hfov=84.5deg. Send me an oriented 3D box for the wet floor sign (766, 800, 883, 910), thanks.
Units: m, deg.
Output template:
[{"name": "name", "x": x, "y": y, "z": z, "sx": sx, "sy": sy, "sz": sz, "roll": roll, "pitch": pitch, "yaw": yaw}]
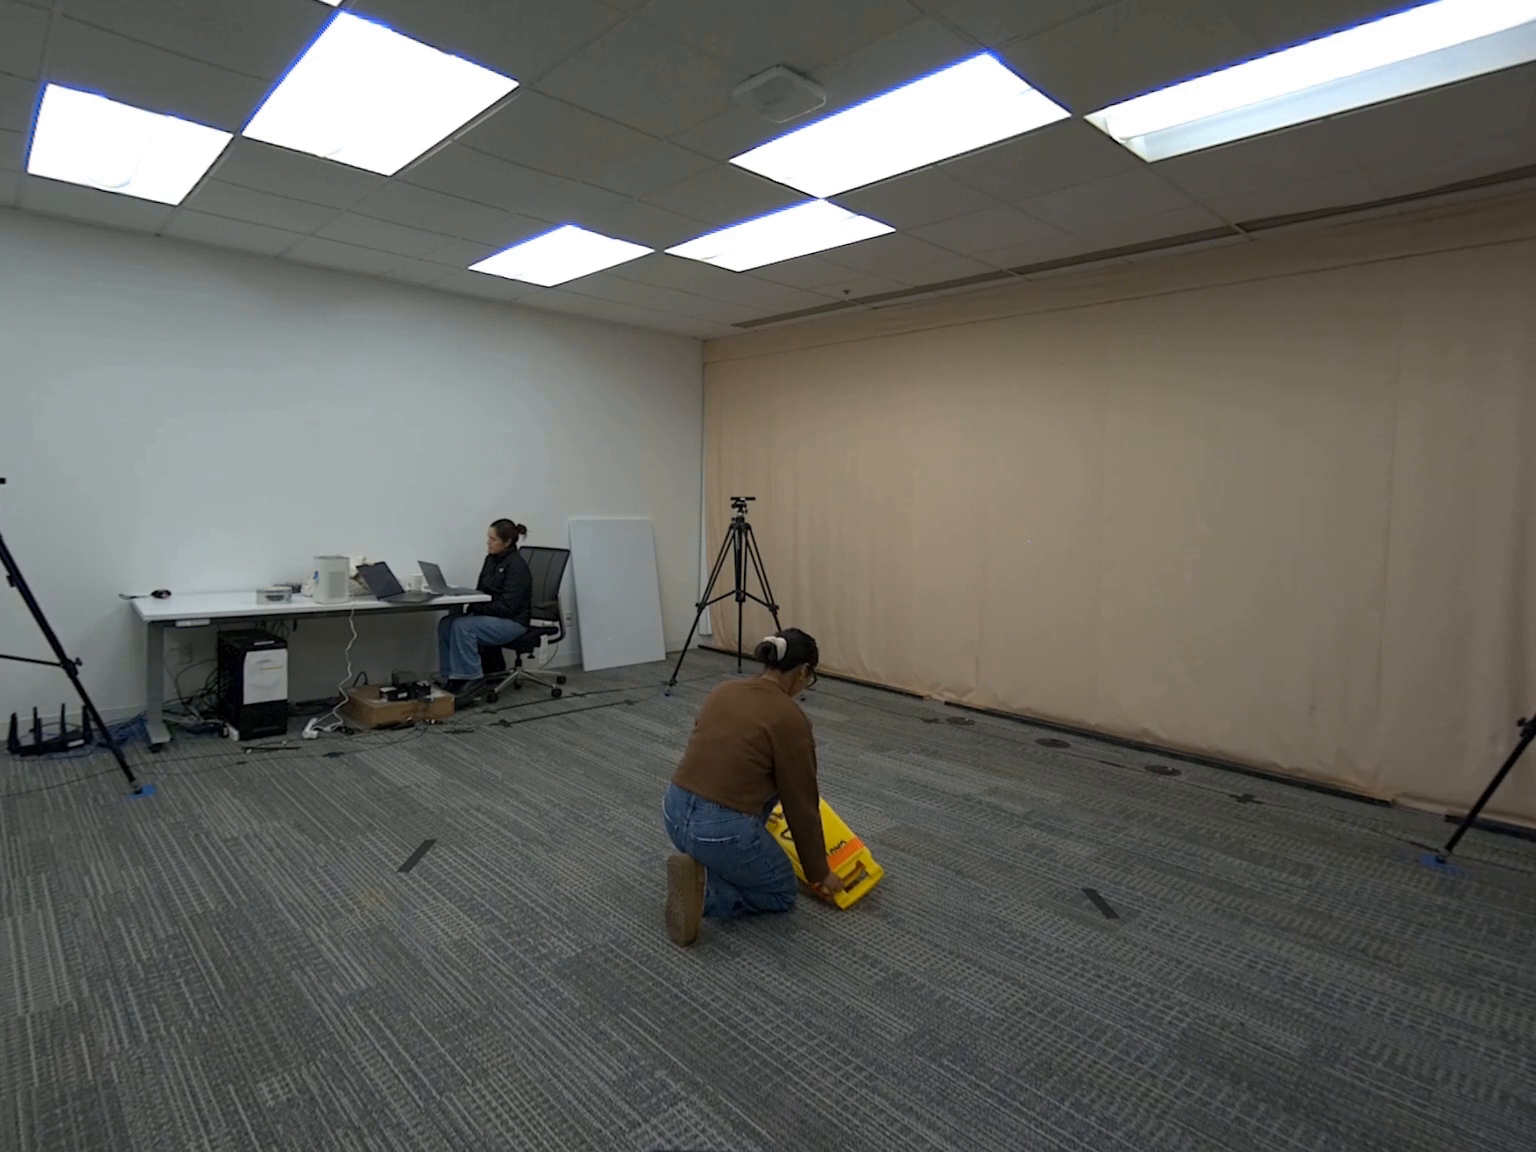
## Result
[{"name": "wet floor sign", "x": 0.161, "y": 0.999, "z": 3.146, "sx": 0.281, "sy": 0.283, "sz": 0.664, "roll": -32, "pitch": 27, "yaw": -18}]
